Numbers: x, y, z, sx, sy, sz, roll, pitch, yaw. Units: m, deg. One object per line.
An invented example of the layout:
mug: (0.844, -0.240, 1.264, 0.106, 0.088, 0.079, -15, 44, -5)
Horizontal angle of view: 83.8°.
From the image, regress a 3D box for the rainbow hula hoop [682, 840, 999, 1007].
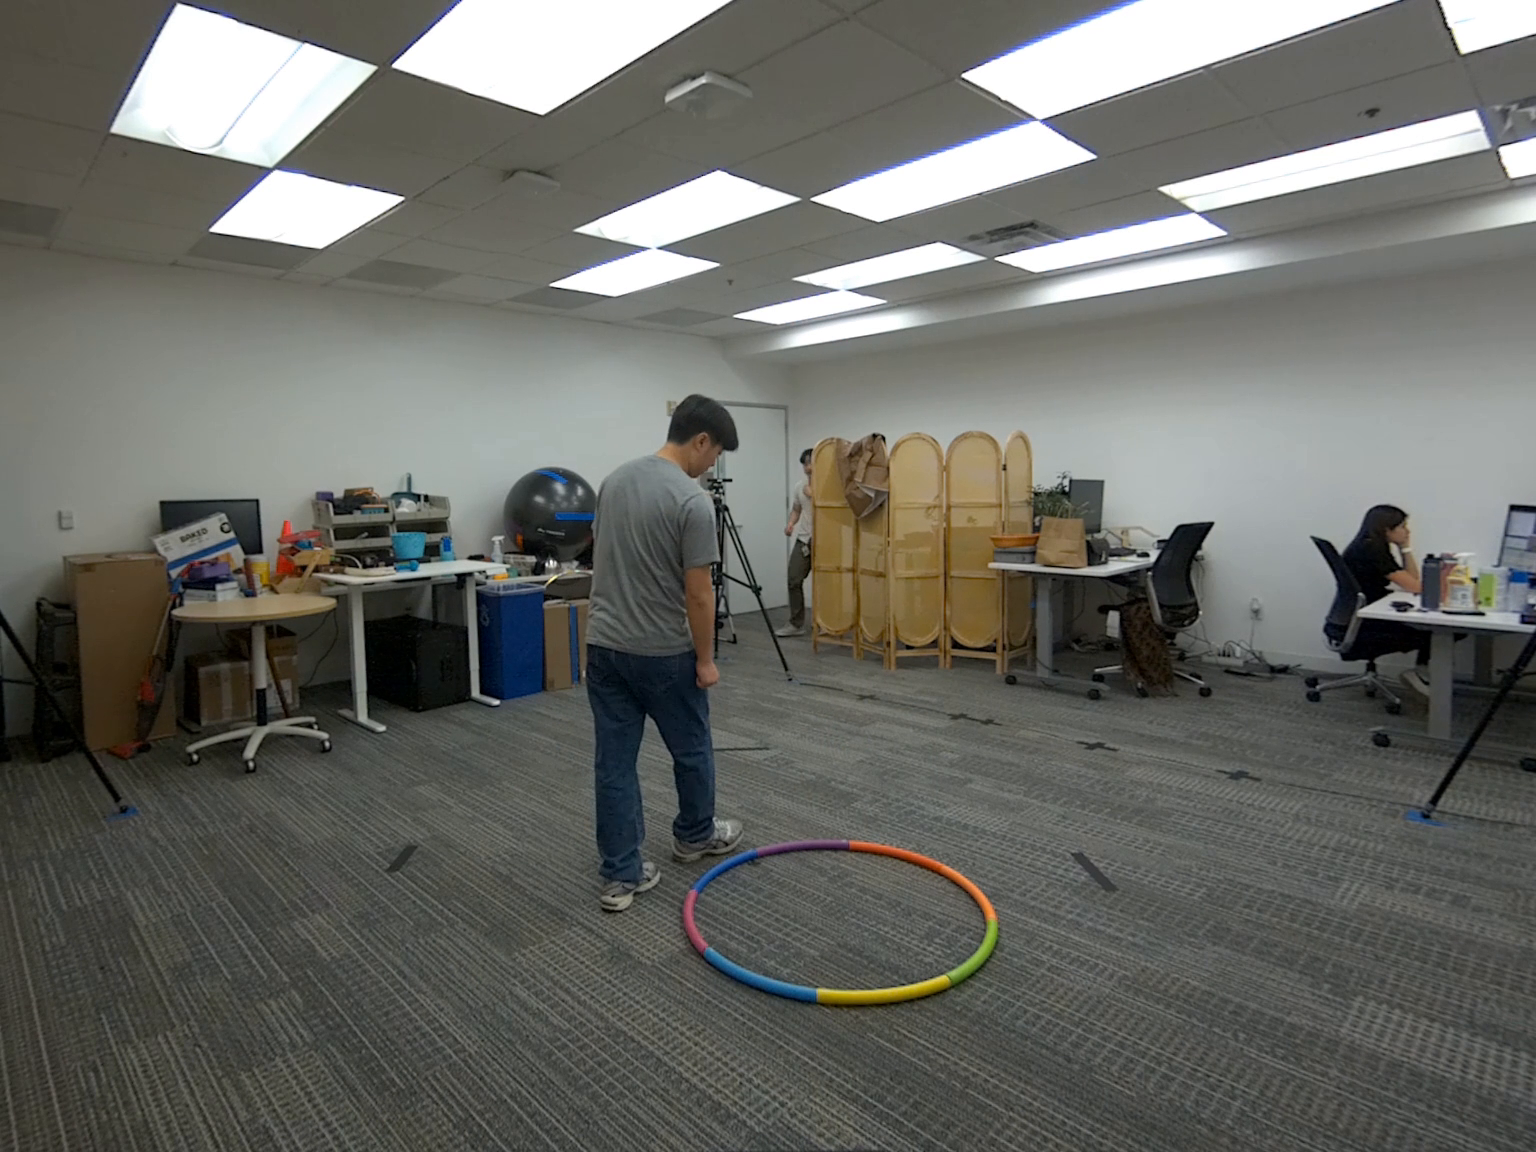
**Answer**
rainbow hula hoop: (0.217, 1.052, 2.739, 0.978, 0.035, 0.984, -1, 7, -2)
